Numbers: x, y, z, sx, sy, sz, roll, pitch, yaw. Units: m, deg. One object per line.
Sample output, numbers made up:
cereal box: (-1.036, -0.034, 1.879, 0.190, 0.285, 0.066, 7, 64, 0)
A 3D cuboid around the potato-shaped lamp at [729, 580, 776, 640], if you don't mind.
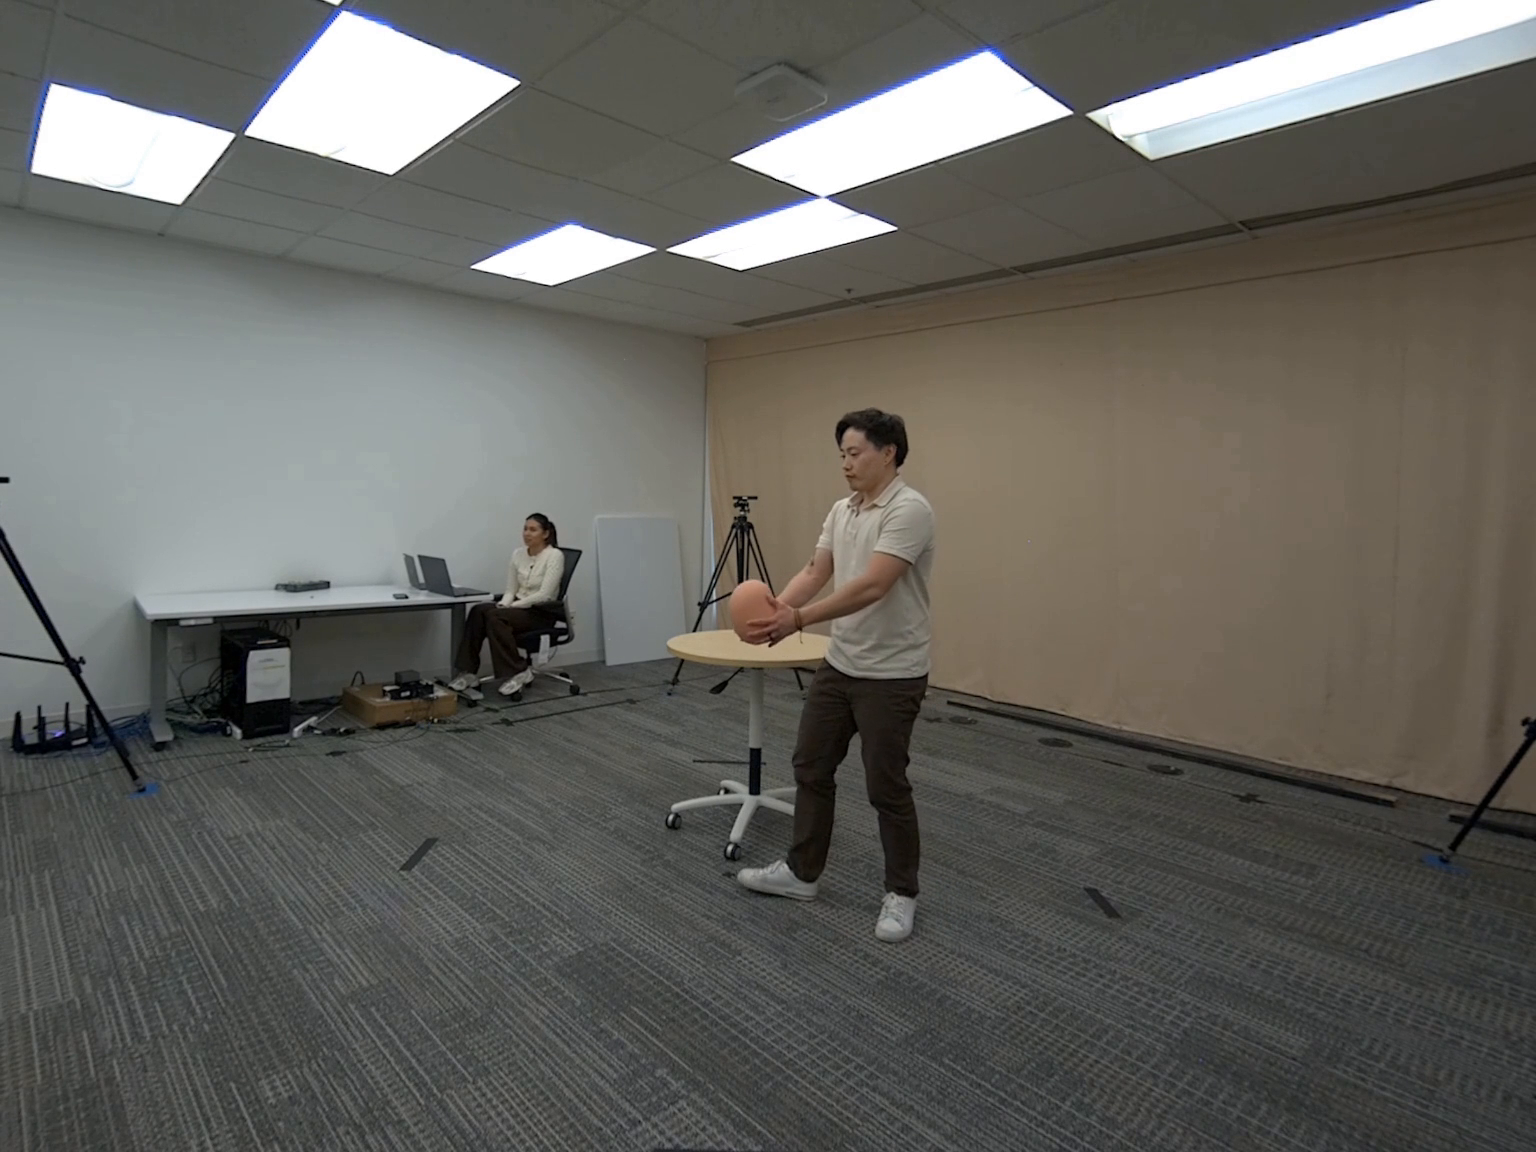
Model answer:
potato-shaped lamp: (-0.034, 0.110, 2.625, 0.170, 0.197, 0.167, -18, 6, -17)
